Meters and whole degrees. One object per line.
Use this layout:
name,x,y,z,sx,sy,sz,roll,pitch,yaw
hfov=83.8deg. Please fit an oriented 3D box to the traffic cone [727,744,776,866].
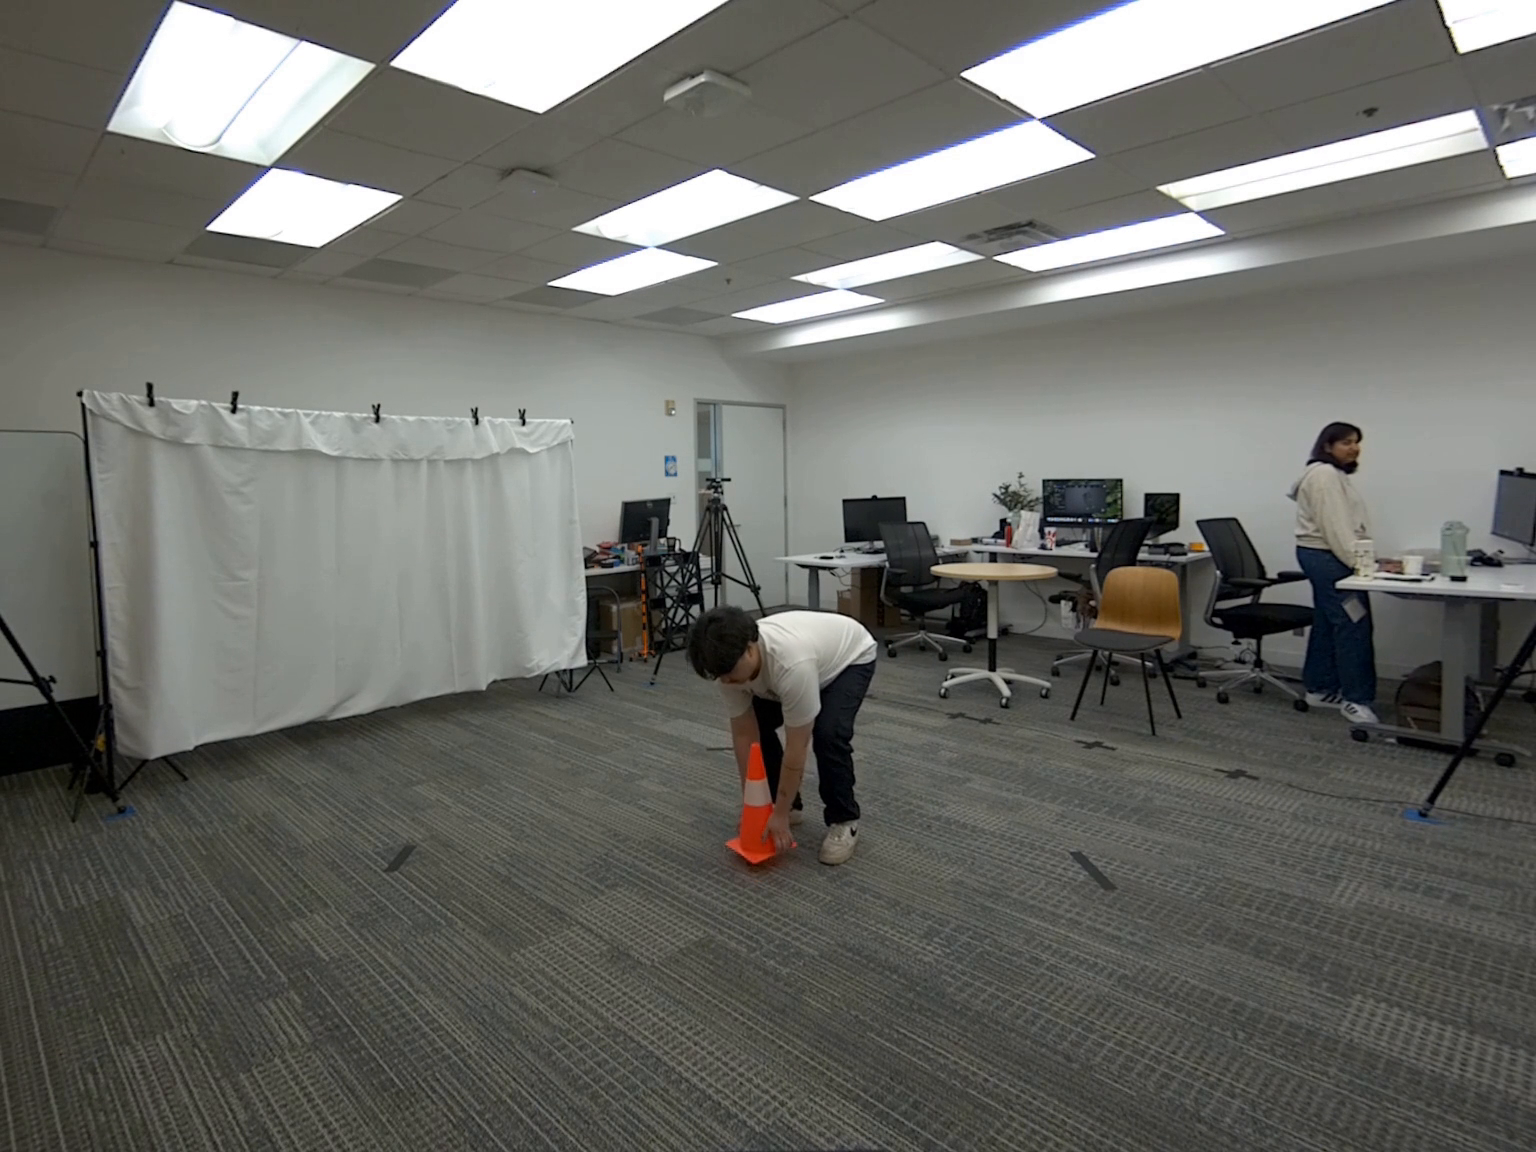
traffic cone,-0.025,0.801,3.110,0.199,0.381,0.211,-7,8,-30
